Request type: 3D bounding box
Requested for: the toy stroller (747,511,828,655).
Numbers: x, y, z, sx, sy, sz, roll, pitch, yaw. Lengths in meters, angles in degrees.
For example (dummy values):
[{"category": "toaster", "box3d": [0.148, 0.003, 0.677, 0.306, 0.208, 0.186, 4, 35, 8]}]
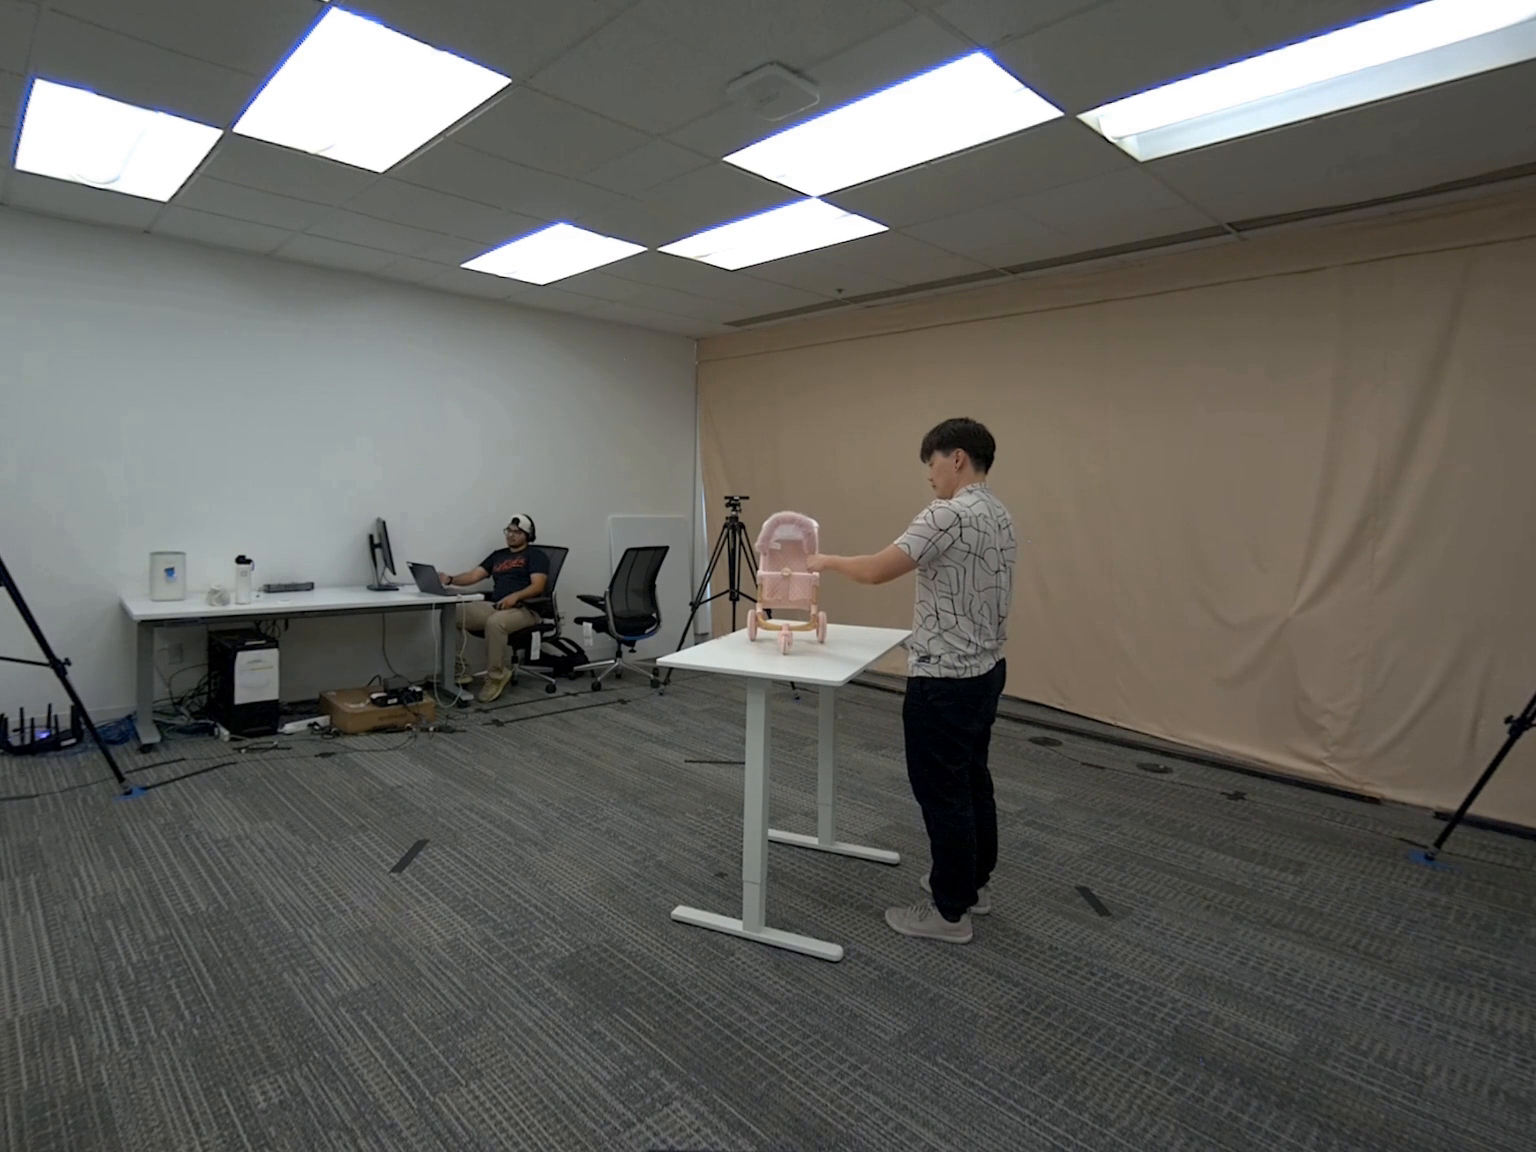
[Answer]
[{"category": "toy stroller", "box3d": [0.051, 0.012, 2.943, 0.283, 0.539, 0.336, 1, -11, 8]}]
